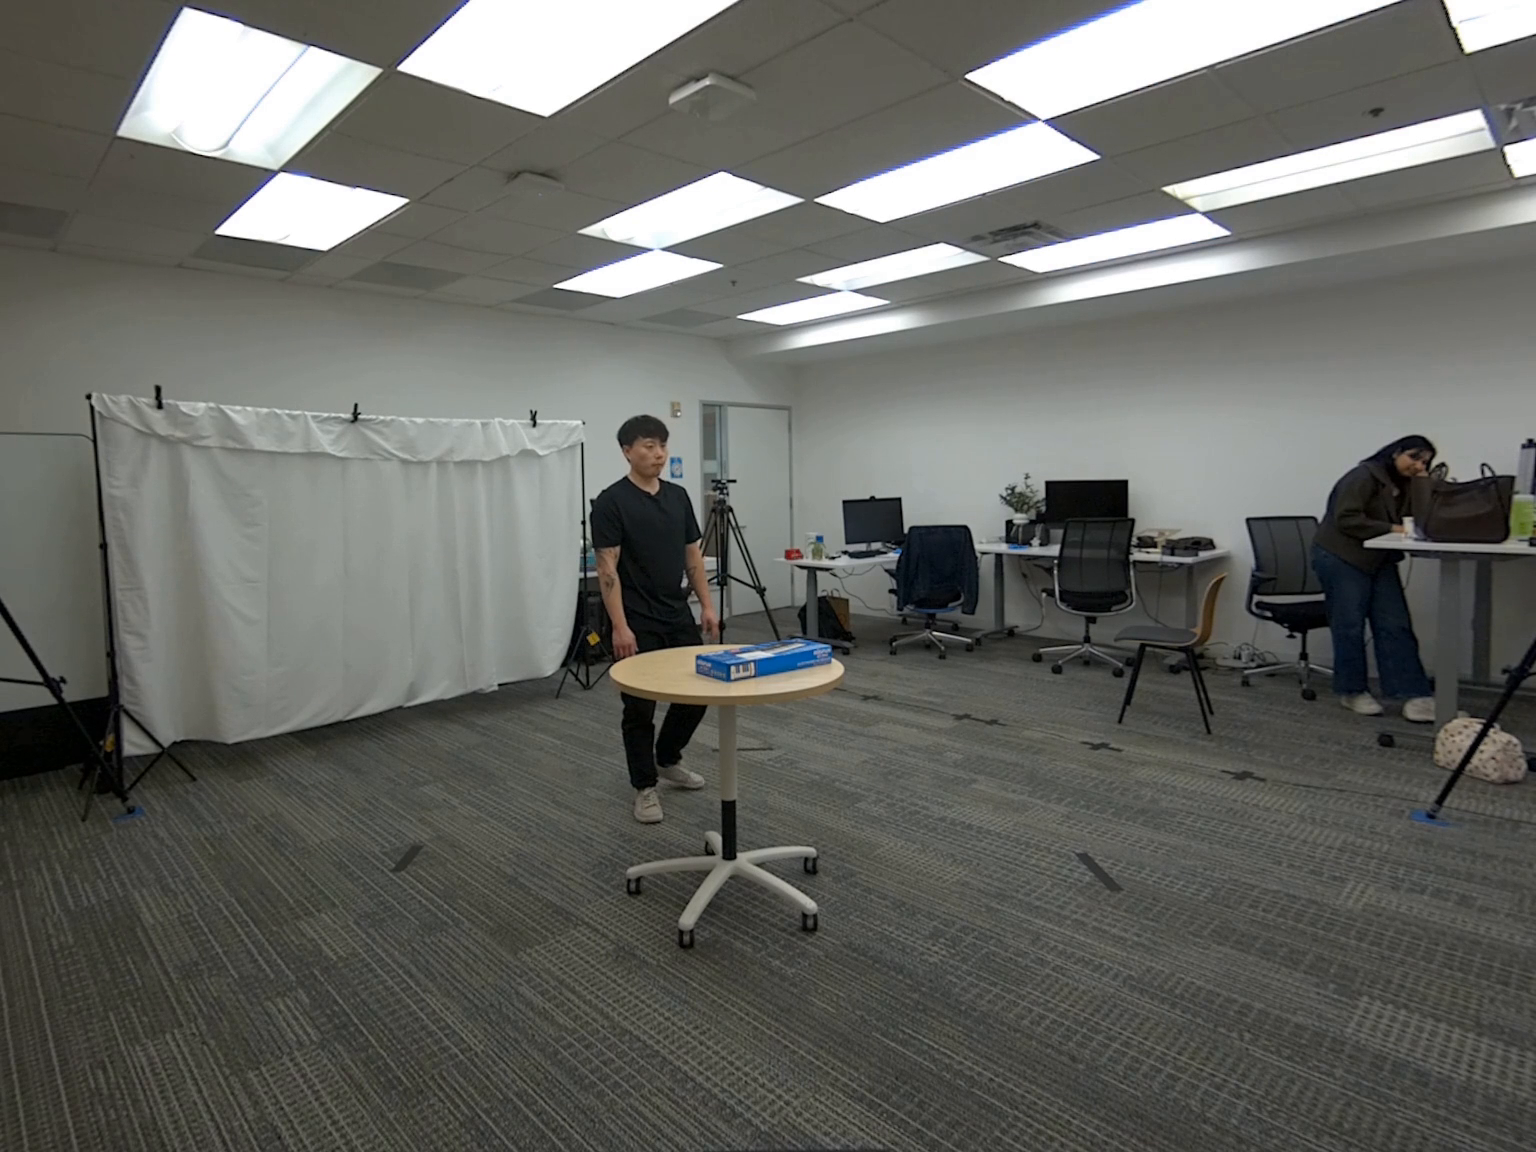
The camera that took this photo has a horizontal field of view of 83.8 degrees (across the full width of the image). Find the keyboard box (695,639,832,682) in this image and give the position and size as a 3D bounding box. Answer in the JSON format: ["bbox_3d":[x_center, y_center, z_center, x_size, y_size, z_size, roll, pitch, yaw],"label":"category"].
[{"bbox_3d":[-0.007,0.273,2.779,0.426,0.059,0.181,-6,8,-38],"label":"keyboard box"}]
